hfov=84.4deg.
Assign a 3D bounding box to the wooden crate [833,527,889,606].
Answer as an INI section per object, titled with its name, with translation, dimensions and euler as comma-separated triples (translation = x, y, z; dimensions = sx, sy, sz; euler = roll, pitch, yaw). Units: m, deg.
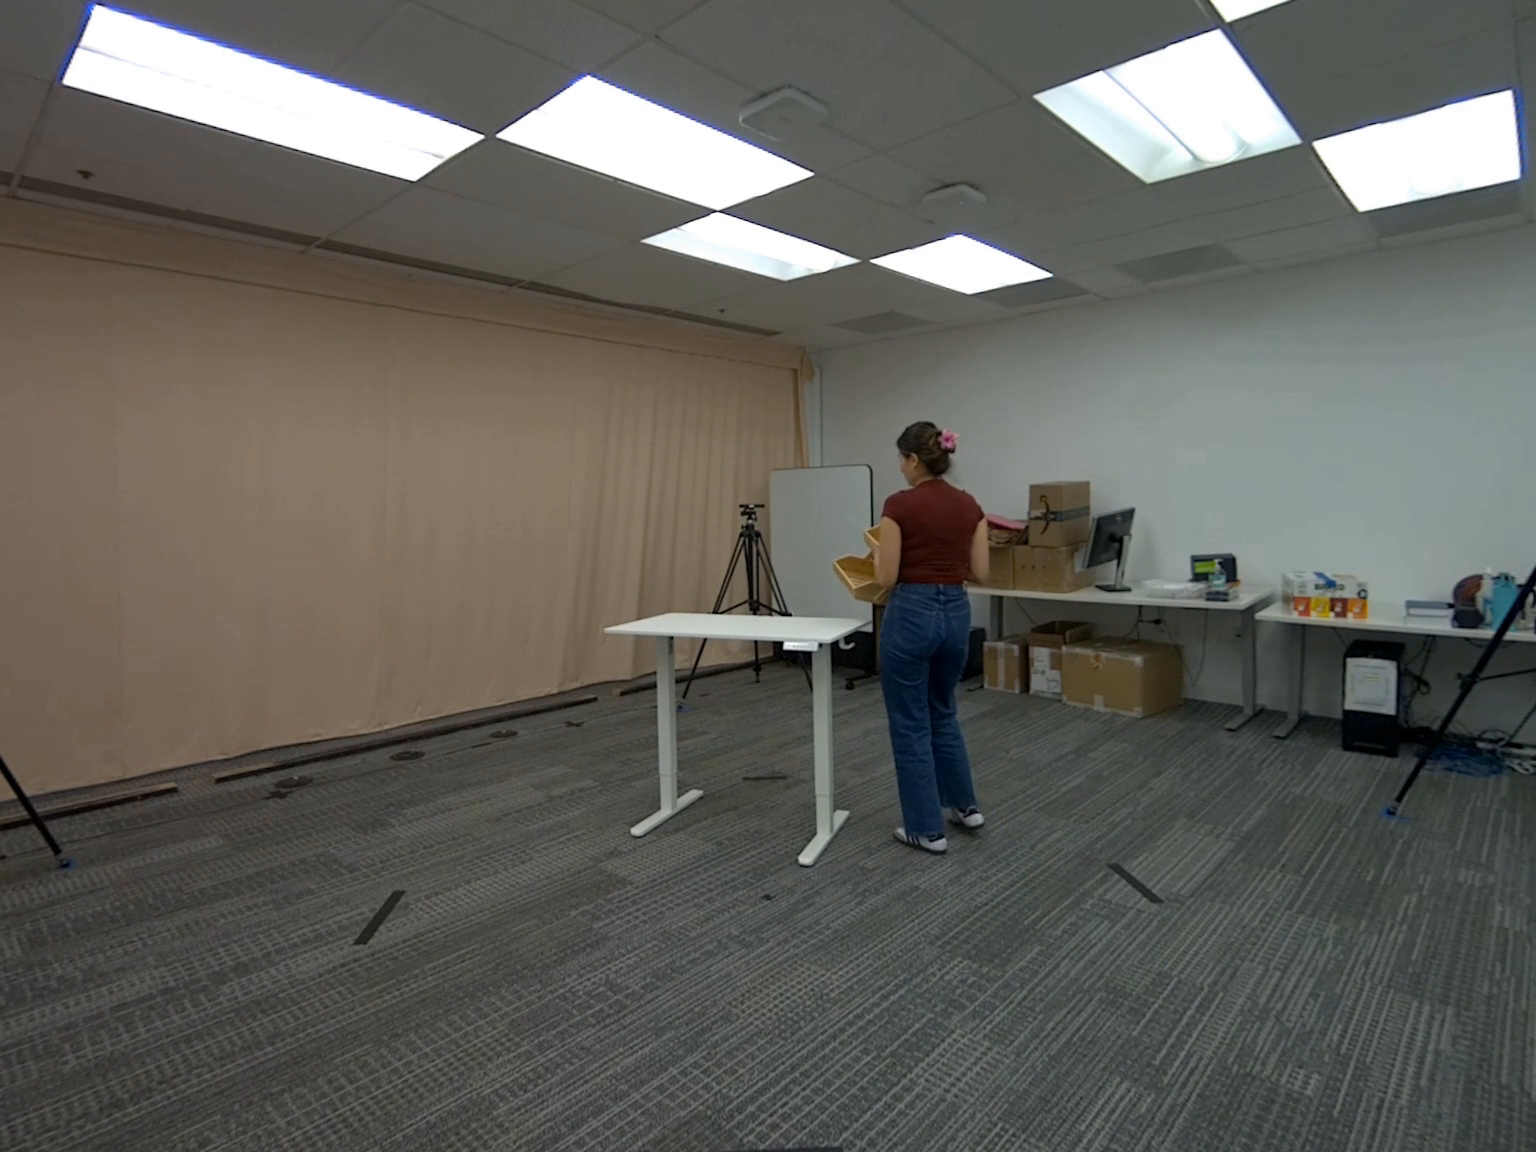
[wooden crate]
translation = 0.512, -0.056, 3.686
dimensions = 0.296, 0.272, 0.333
euler = 12, 19, -19
